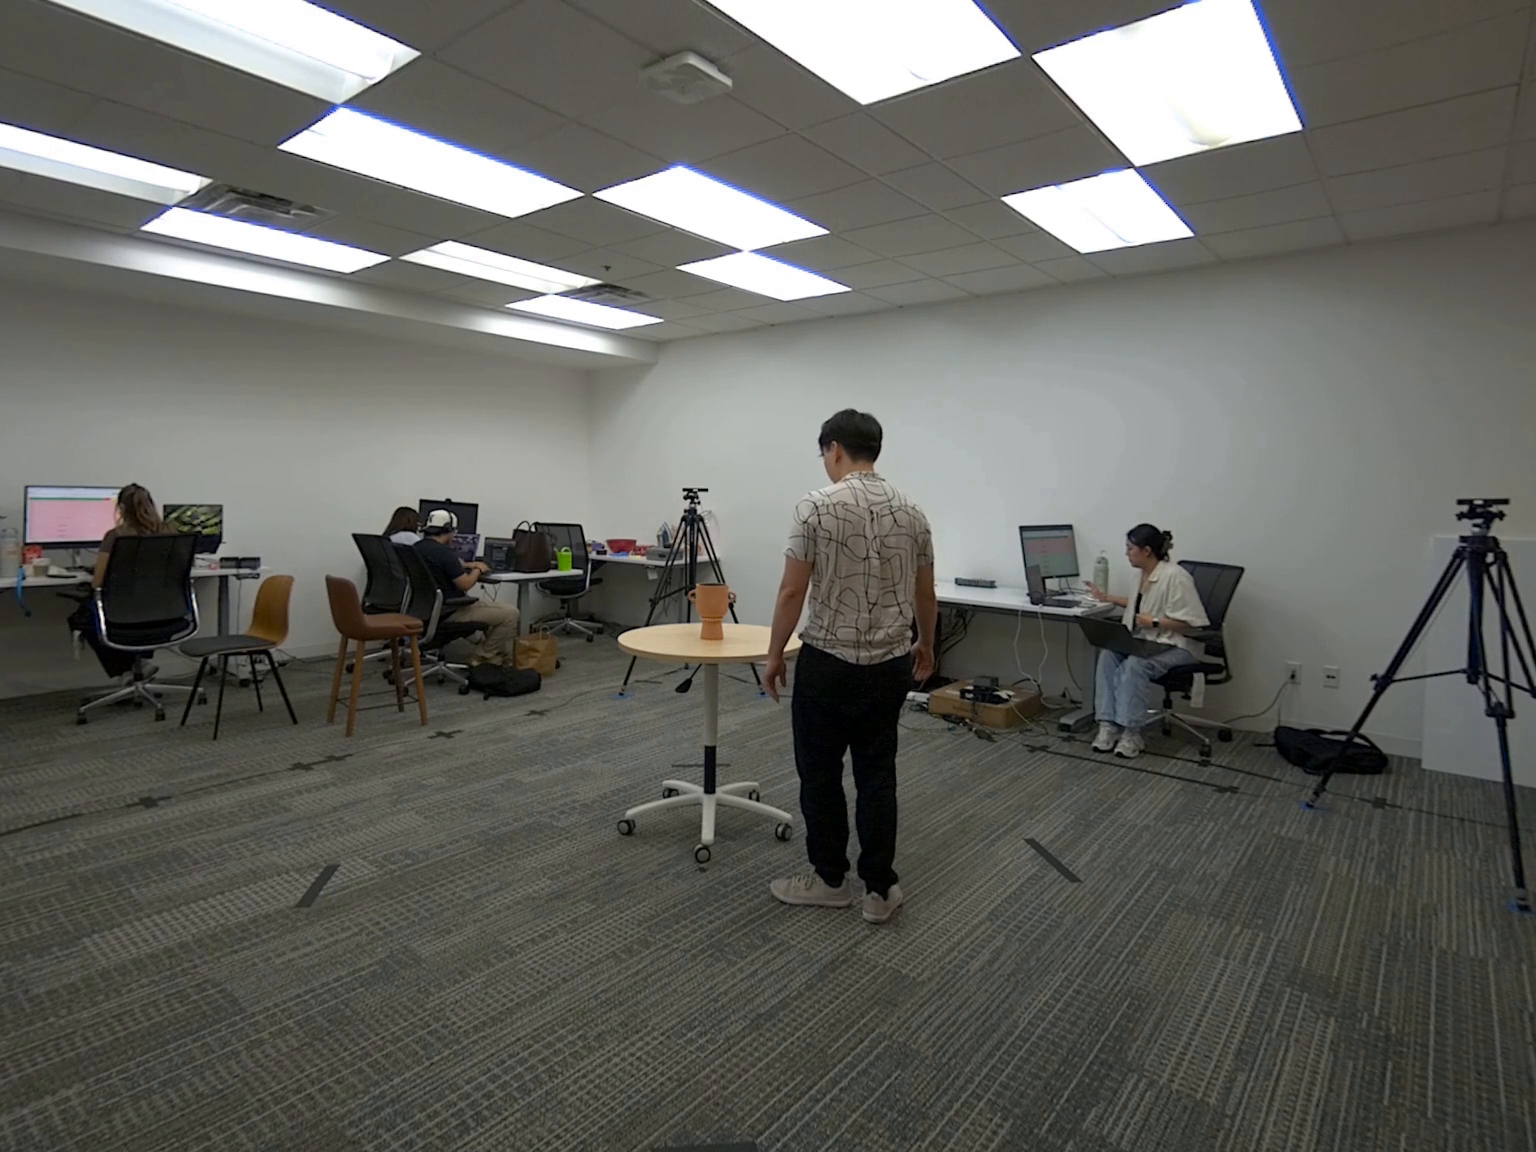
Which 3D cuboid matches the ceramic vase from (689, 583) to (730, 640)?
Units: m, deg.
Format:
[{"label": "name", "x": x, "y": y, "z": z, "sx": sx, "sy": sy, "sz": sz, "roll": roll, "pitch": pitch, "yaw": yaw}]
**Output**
[{"label": "ceramic vase", "x": -0.239, "y": 0.142, "z": 3.480, "sx": 0.130, "sy": 0.219, "sz": 0.164, "roll": -3, "pitch": 5, "yaw": -45}]
